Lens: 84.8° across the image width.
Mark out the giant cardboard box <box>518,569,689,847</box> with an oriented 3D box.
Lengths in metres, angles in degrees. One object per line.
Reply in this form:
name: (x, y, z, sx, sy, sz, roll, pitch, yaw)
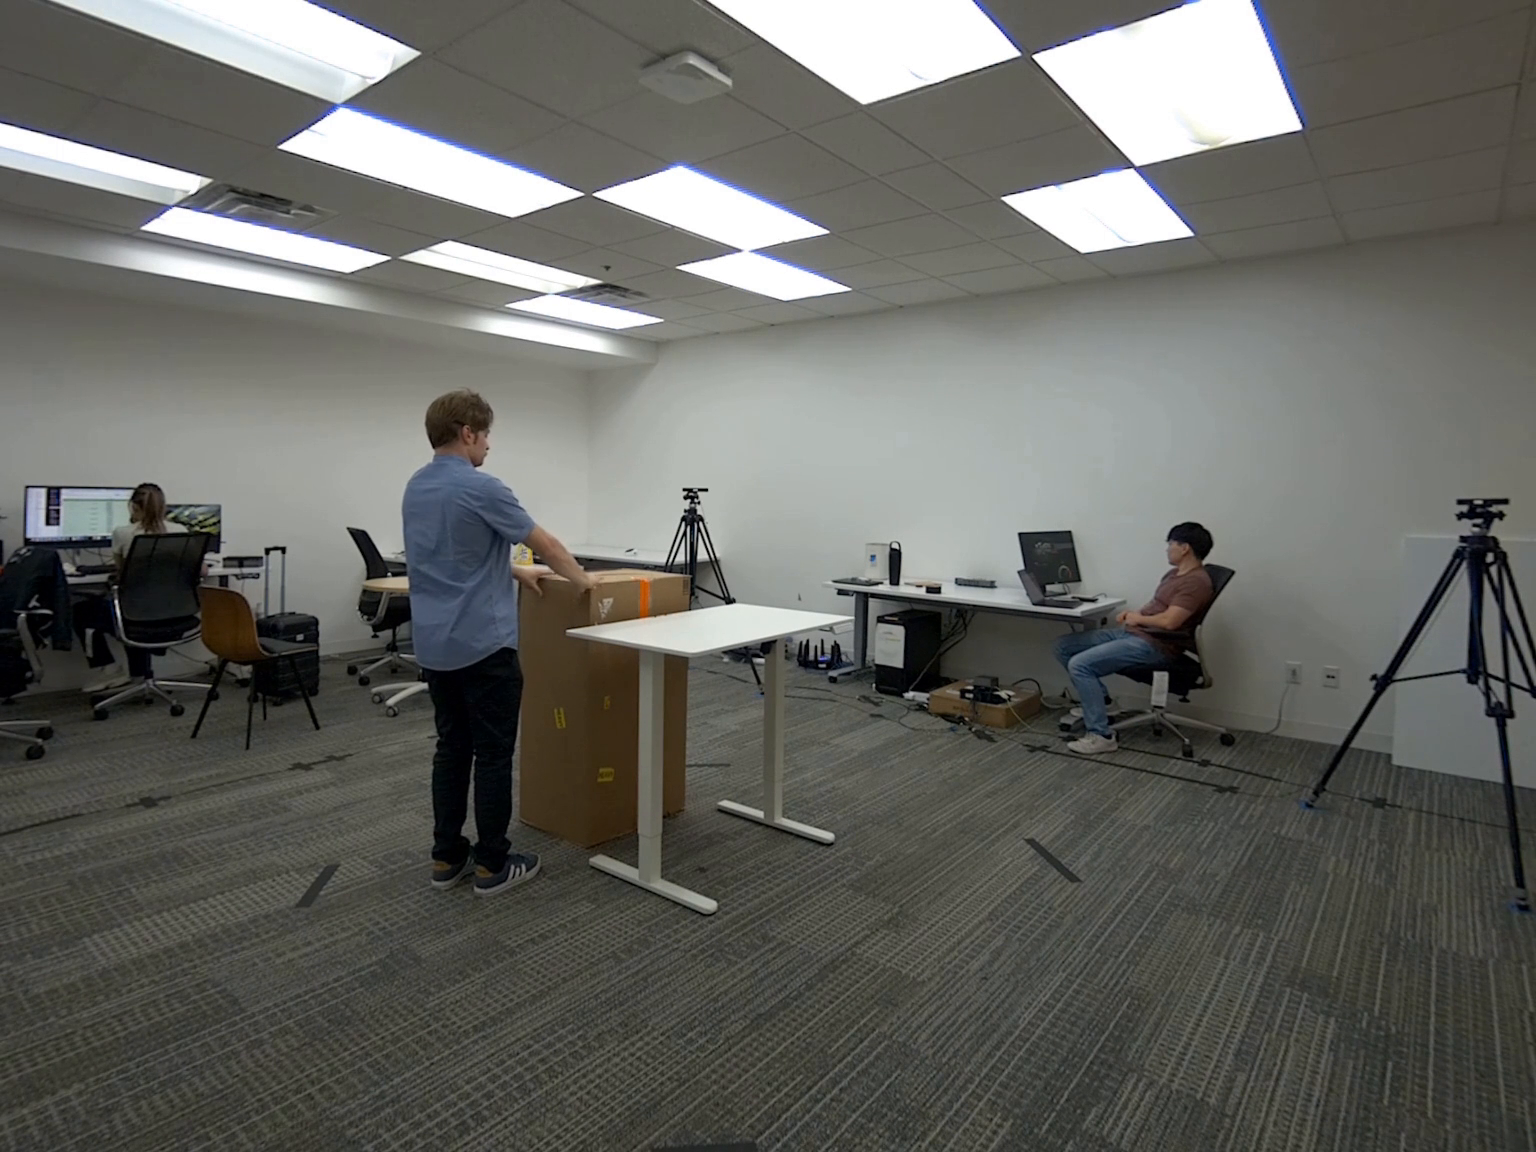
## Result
giant cardboard box: (-0.692, 0.505, 3.593, 0.440, 1.023, 0.560, 3, 3, 38)
